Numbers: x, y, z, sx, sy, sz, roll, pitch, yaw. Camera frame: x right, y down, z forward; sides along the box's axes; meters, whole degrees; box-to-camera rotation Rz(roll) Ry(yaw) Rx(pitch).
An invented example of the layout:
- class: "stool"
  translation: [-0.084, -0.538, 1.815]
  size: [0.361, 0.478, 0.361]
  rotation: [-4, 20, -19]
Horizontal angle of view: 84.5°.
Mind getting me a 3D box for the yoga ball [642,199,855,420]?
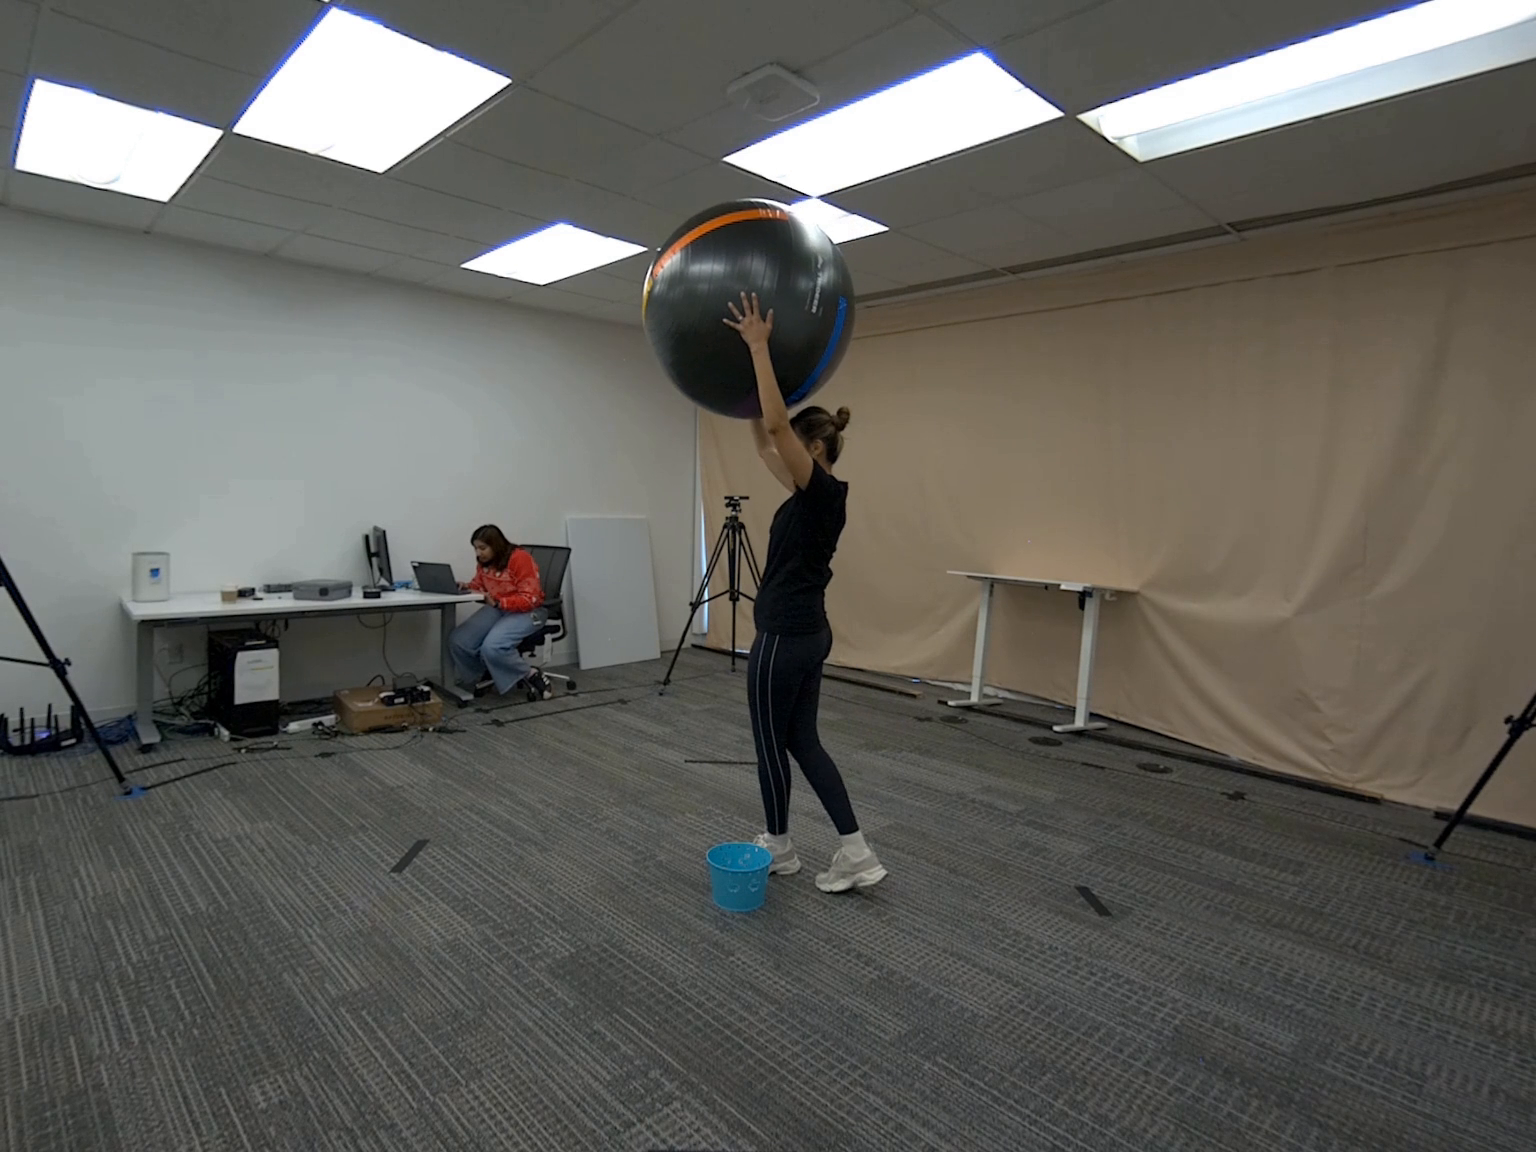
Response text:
- class: "yoga ball"
  translation: [-0.077, -0.941, 3.021]
  size: [0.757, 0.756, 0.761]
  rotation: [1, 4, -1]
